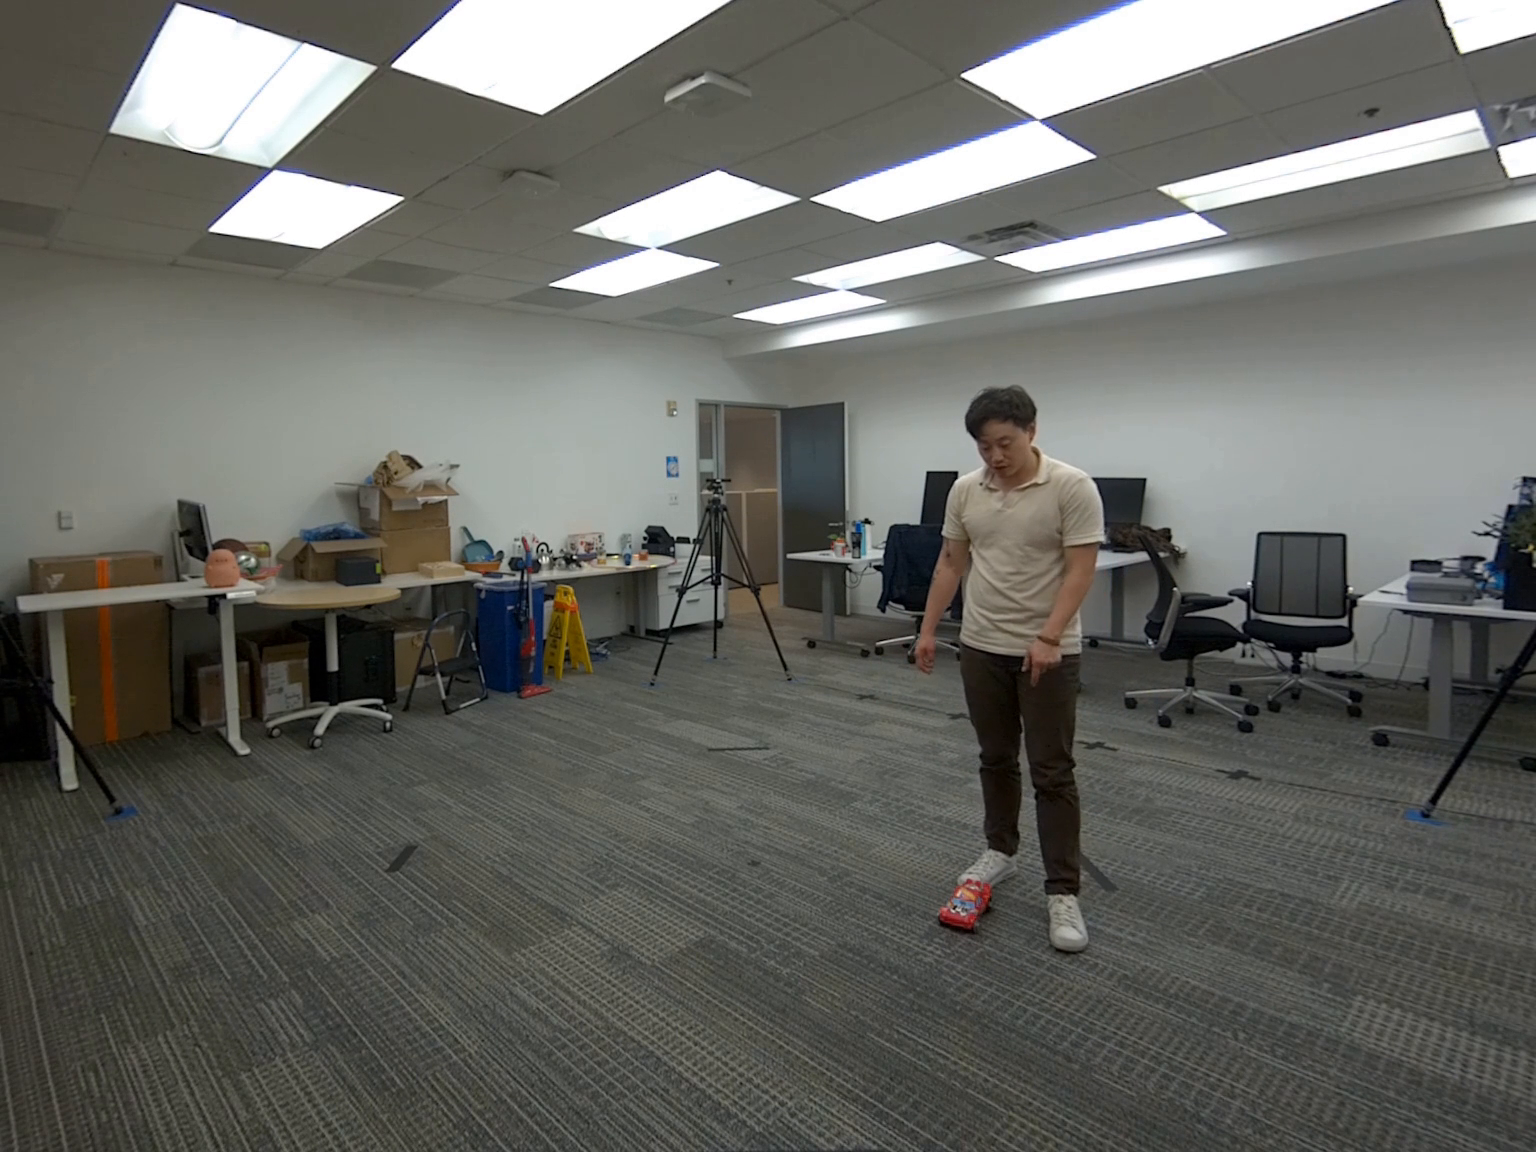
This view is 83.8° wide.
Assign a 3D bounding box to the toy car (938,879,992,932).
[{"bbox_3d":[0.641,1.047,2.715,0.134,0.082,0.251,3,17,33],"label":"toy car"}]
